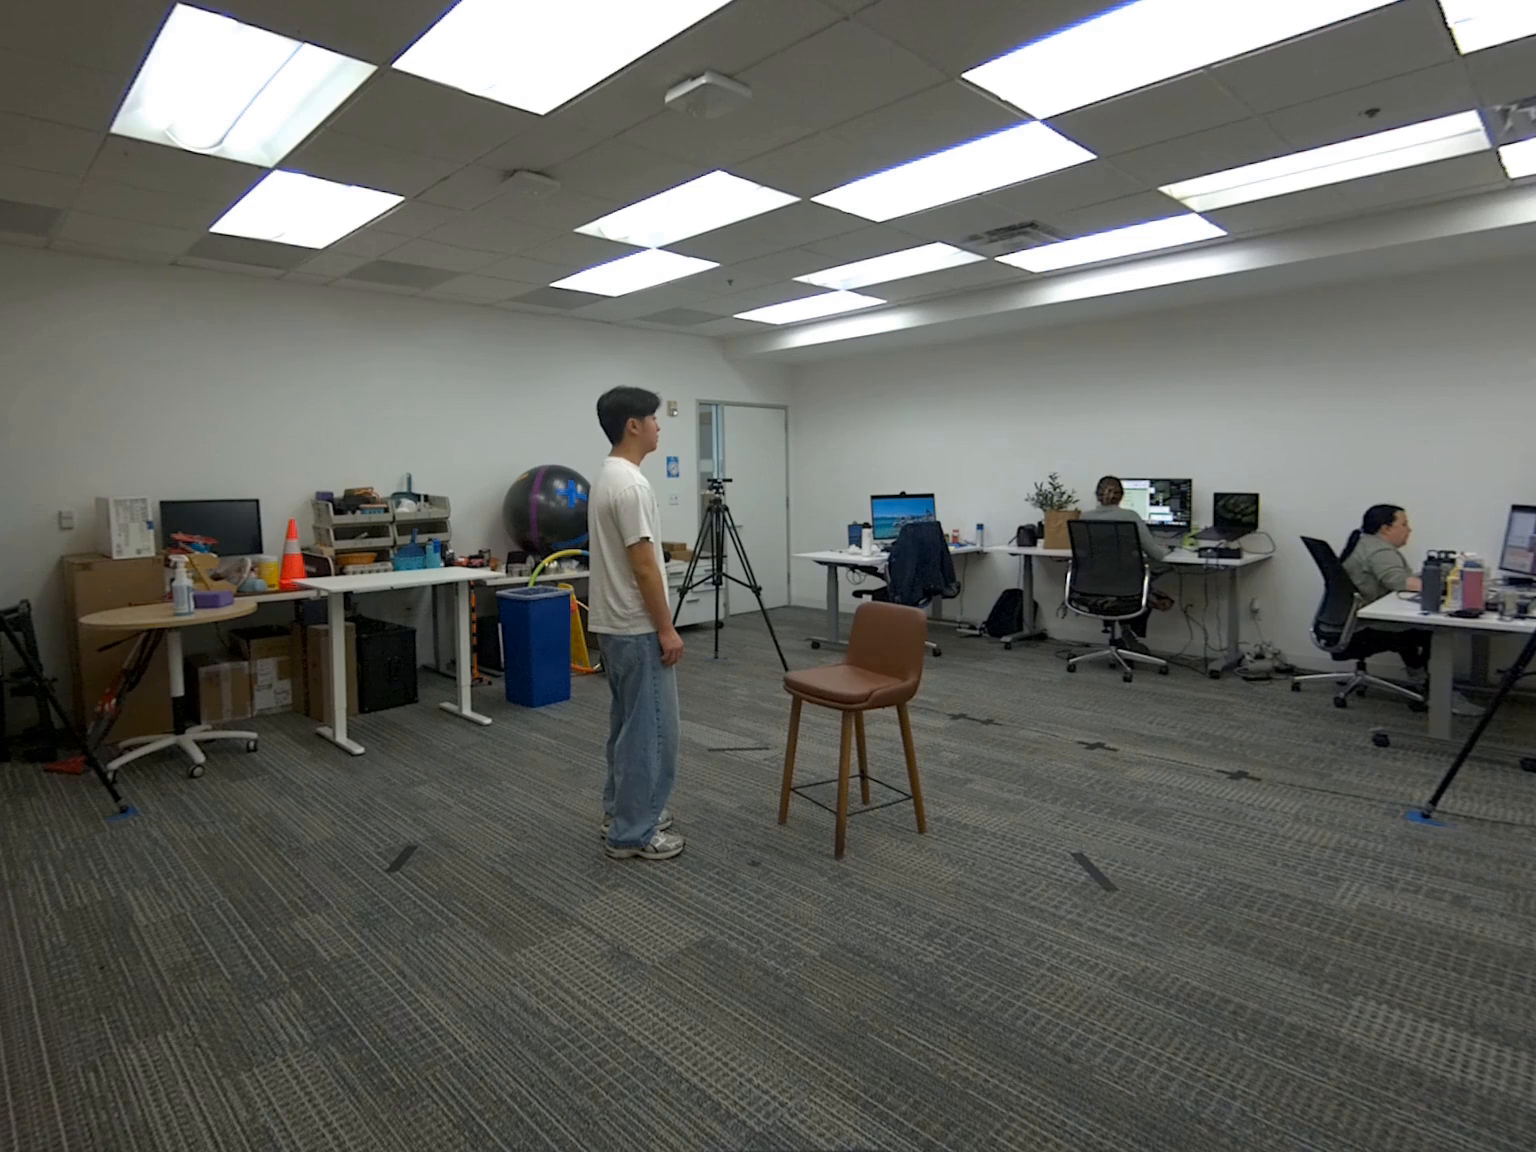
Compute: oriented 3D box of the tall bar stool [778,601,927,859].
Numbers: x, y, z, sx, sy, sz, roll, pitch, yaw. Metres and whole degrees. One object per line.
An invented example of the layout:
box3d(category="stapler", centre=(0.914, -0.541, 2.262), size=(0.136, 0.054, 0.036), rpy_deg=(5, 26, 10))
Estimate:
box3d(category="tall bar stool", centre=(0.336, 0.568, 3.386), size=(0.456, 0.887, 0.469), rpy_deg=(-1, 4, -32))
